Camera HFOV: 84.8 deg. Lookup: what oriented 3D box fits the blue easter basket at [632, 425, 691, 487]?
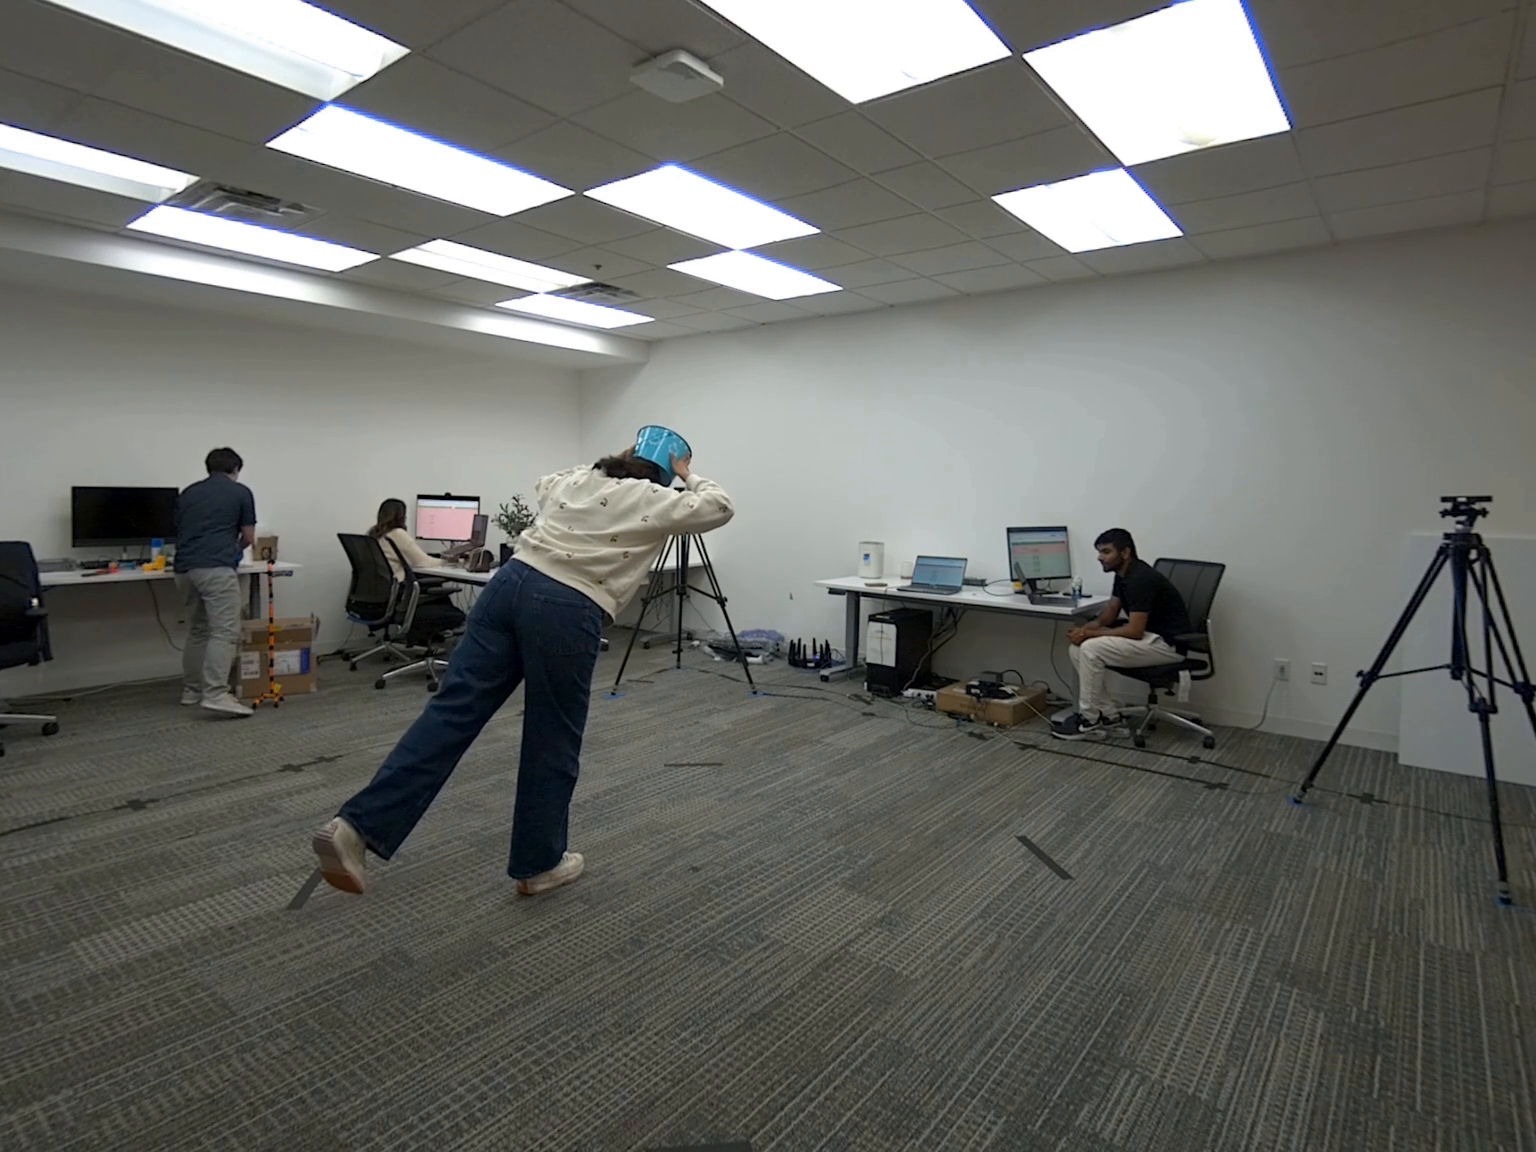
[{"bbox_3d":[-0.453,-0.462,3.346,0.247,0.157,0.238,20,-29,10],"label":"blue easter basket"}]
